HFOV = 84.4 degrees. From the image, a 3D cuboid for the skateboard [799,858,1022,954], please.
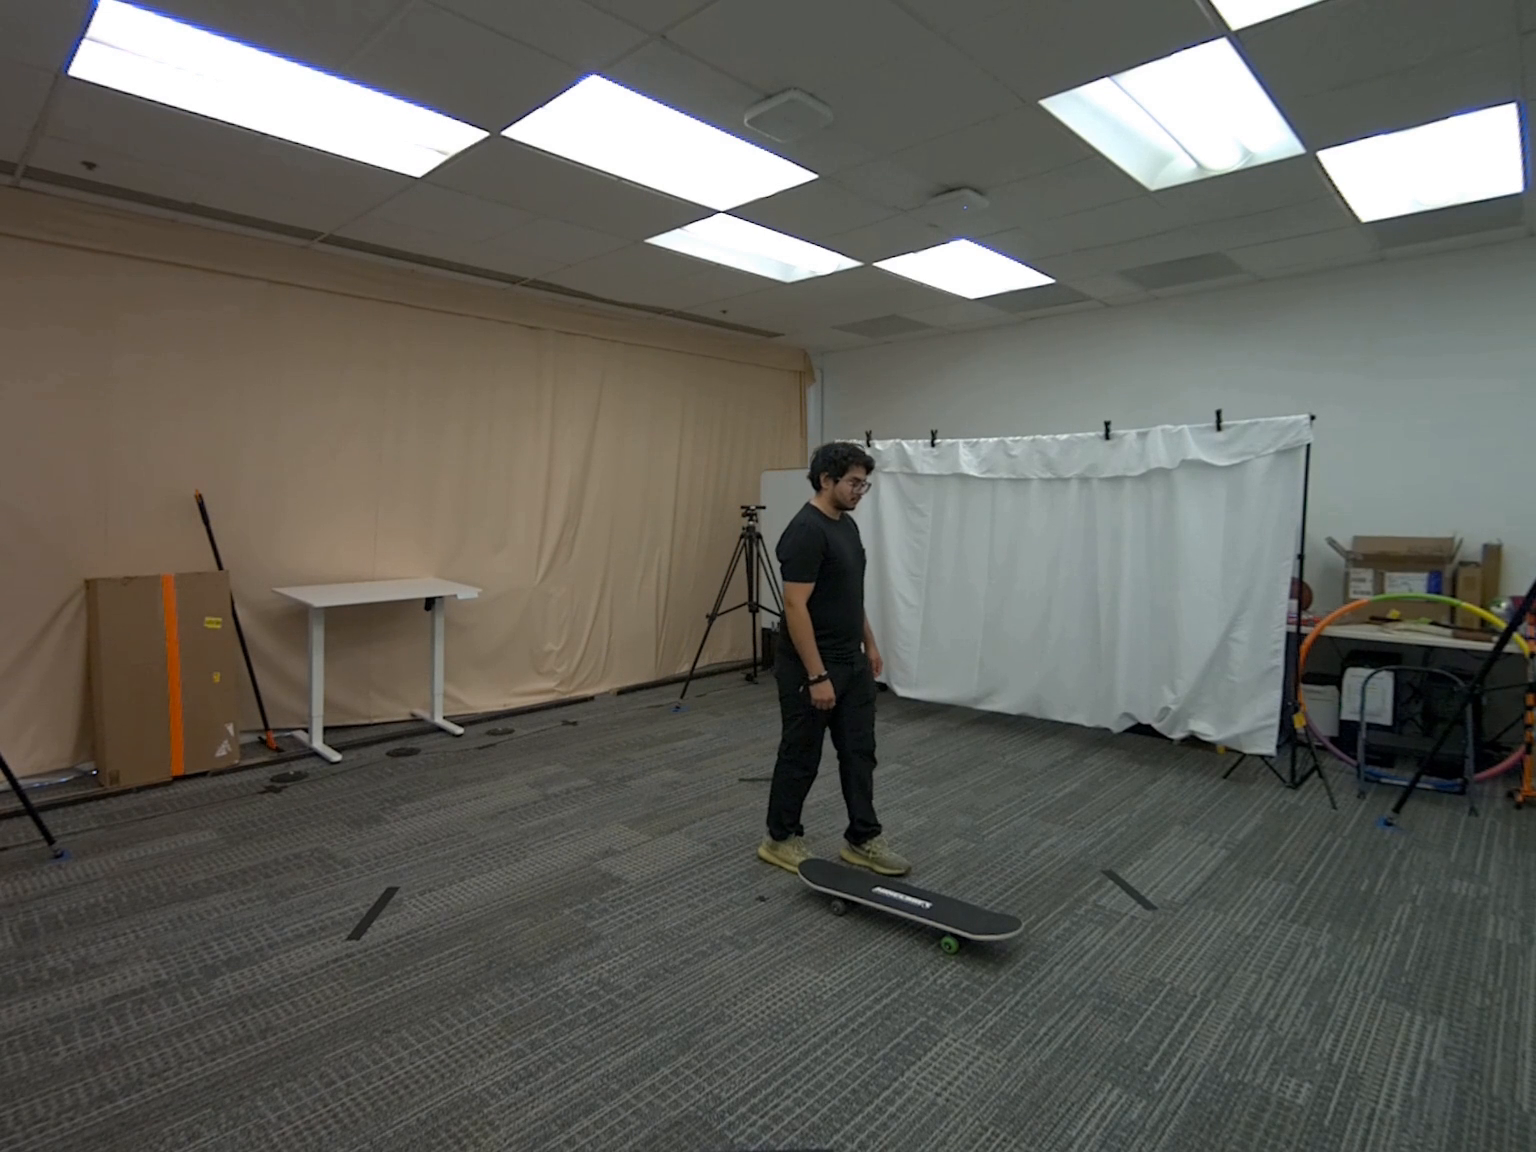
[{"bbox_3d":[0.449,1.099,2.798,0.811,0.110,0.188,3,6,37],"label":"skateboard"}]
